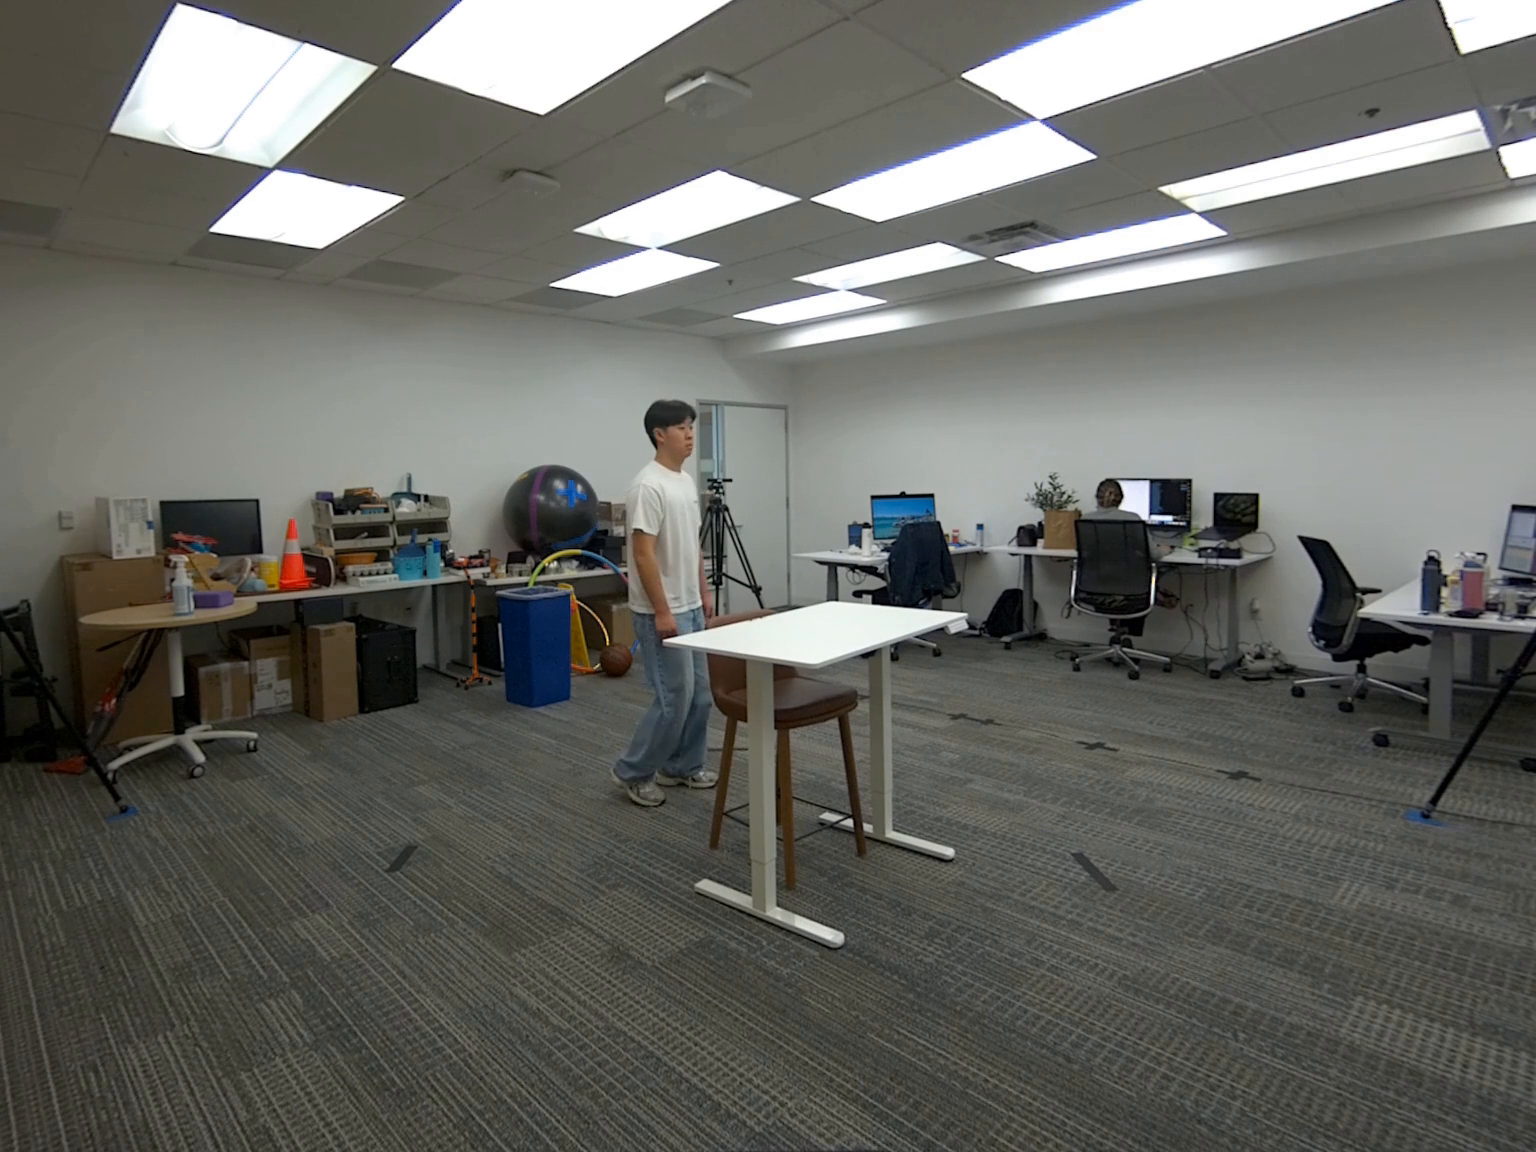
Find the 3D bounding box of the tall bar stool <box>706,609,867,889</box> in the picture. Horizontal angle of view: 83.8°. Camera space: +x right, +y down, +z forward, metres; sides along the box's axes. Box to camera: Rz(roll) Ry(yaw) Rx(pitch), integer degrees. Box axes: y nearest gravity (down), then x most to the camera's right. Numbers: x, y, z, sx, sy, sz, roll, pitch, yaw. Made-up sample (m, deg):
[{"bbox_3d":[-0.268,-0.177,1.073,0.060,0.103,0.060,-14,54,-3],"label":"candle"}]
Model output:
[{"bbox_3d":[0.052,0.597,3.189,0.444,0.888,0.481,-4,2,-42],"label":"tall bar stool"}]
